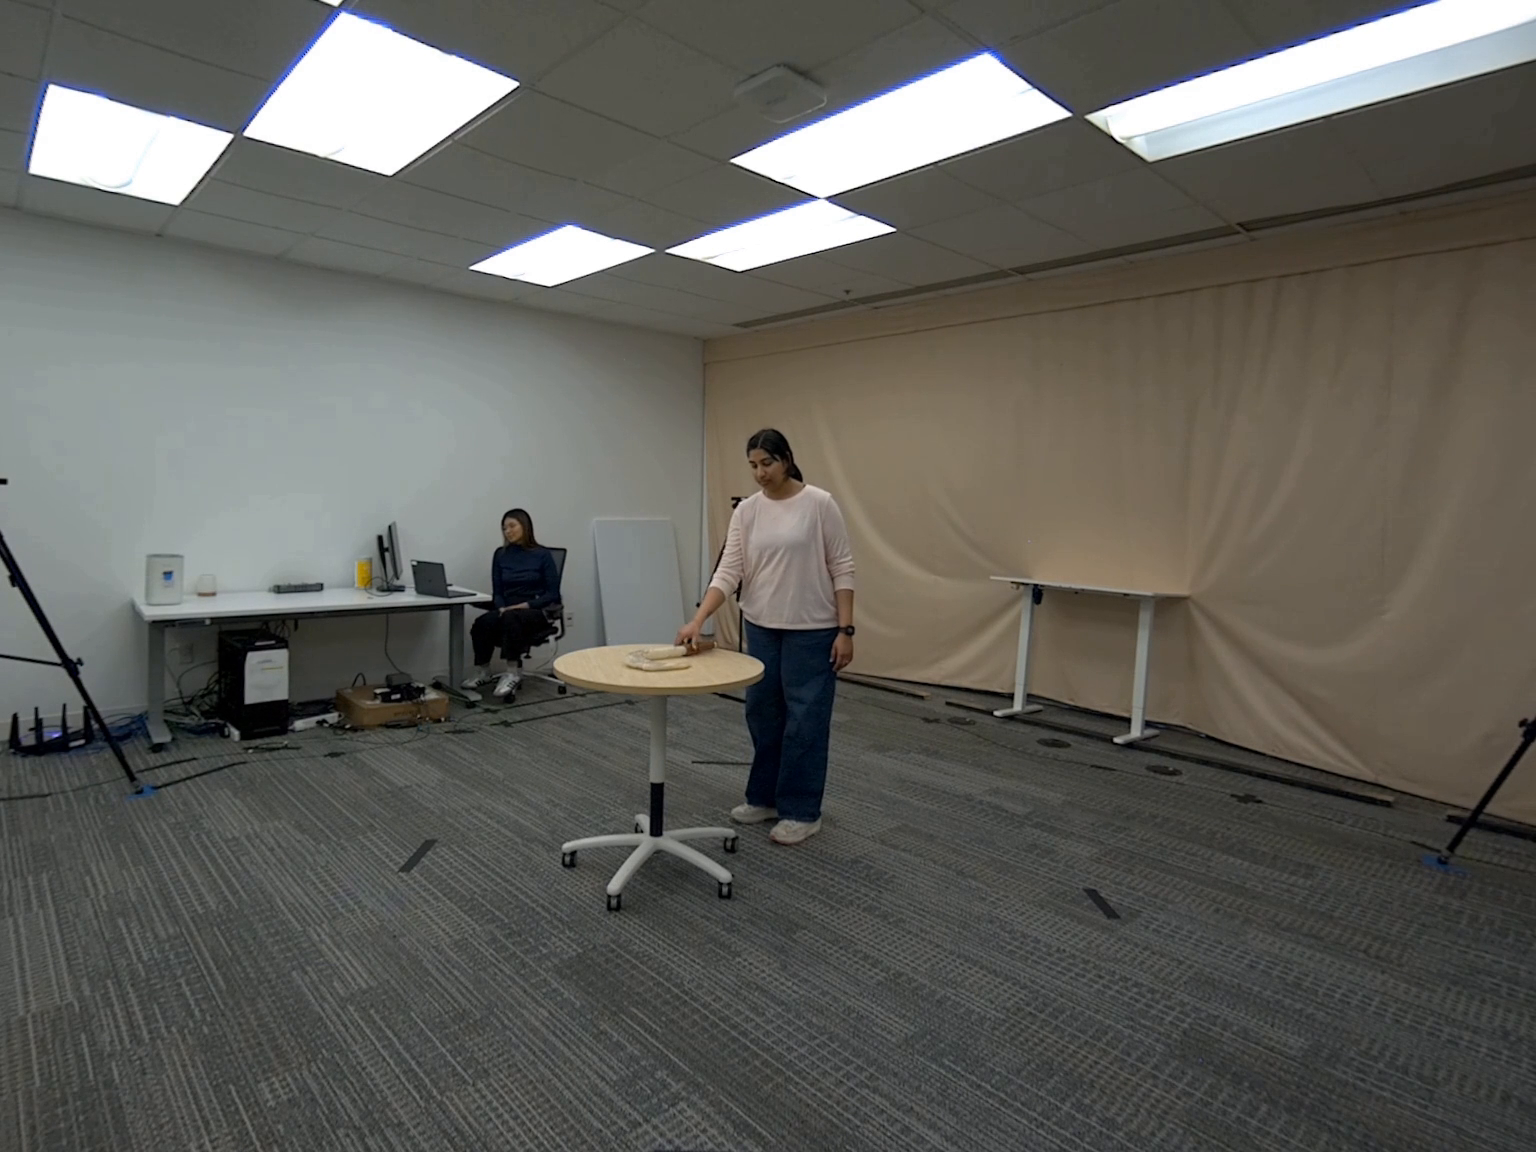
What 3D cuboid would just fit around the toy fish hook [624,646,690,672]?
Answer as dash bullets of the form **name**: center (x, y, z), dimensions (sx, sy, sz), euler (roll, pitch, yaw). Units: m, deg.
- **toy fish hook**: center (-0.324, 0.297, 3.146), dimensions (0.231, 0.048, 0.496), euler (12, 12, 38)
